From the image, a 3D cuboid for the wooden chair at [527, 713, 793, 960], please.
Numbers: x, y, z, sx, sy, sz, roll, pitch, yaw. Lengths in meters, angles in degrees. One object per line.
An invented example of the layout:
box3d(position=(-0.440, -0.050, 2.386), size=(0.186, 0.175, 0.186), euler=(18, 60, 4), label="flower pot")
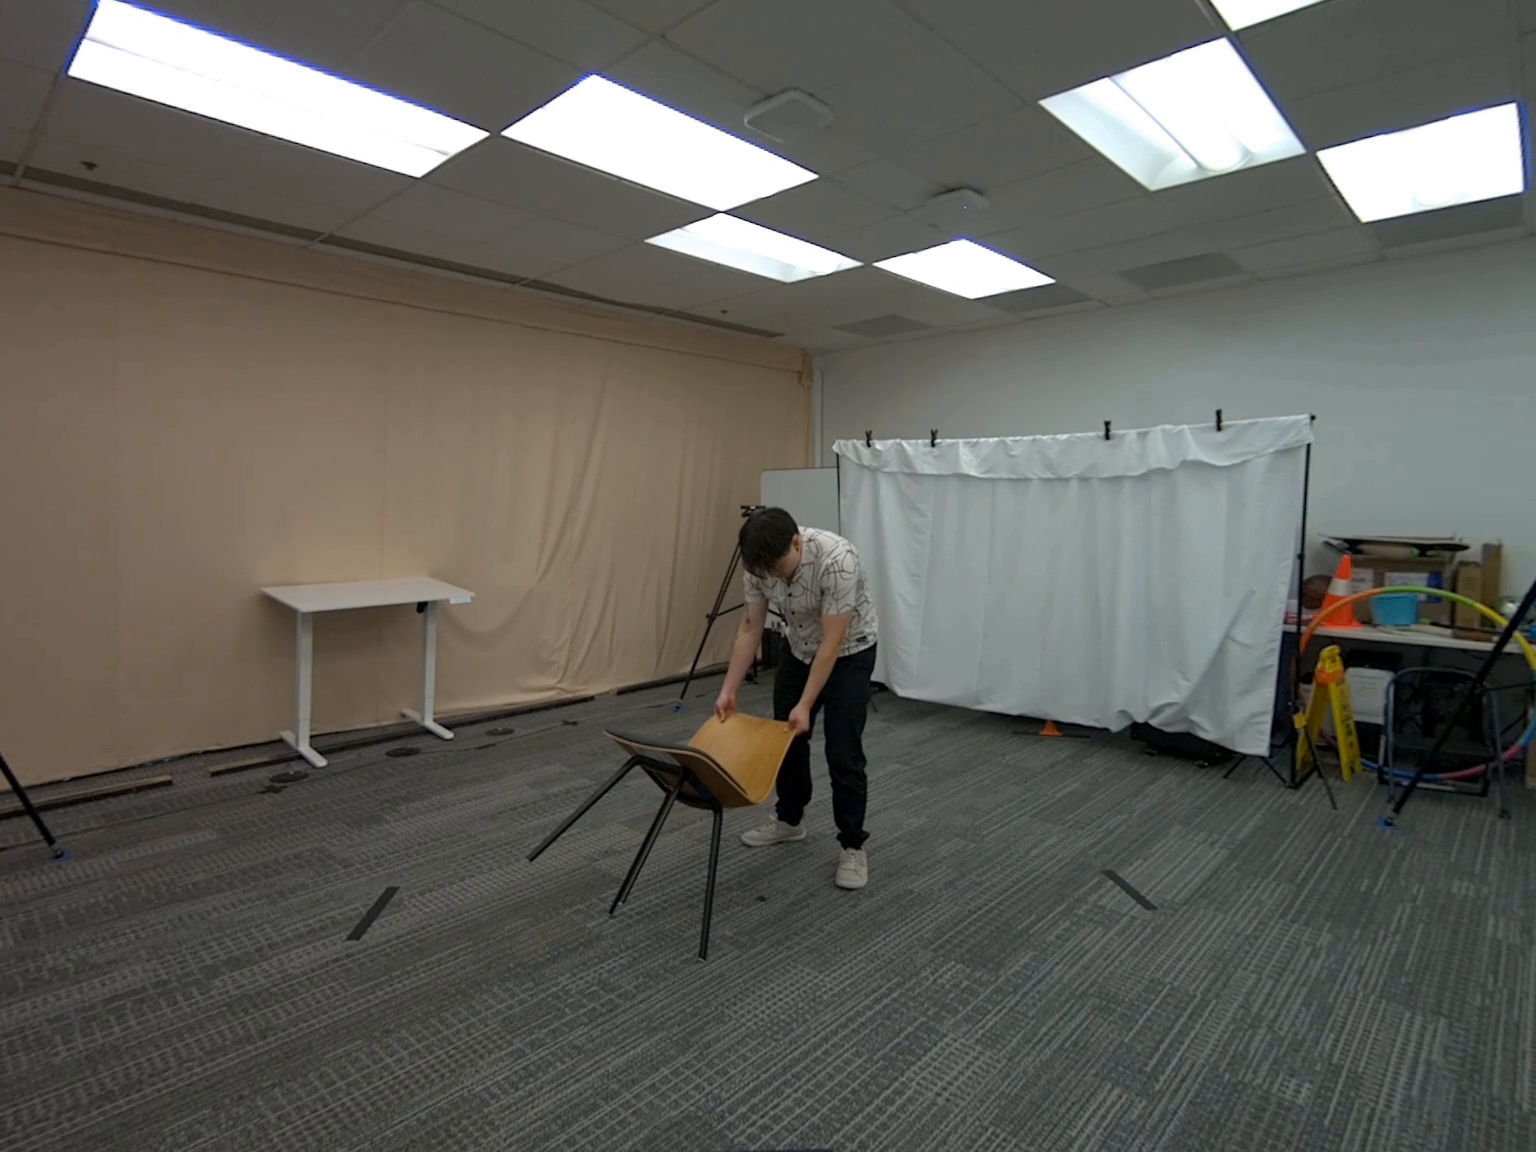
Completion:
box3d(position=(-0.298, 0.689, 2.776), size=(0.494, 0.876, 0.507), euler=(2, -41, 42), label="wooden chair")
